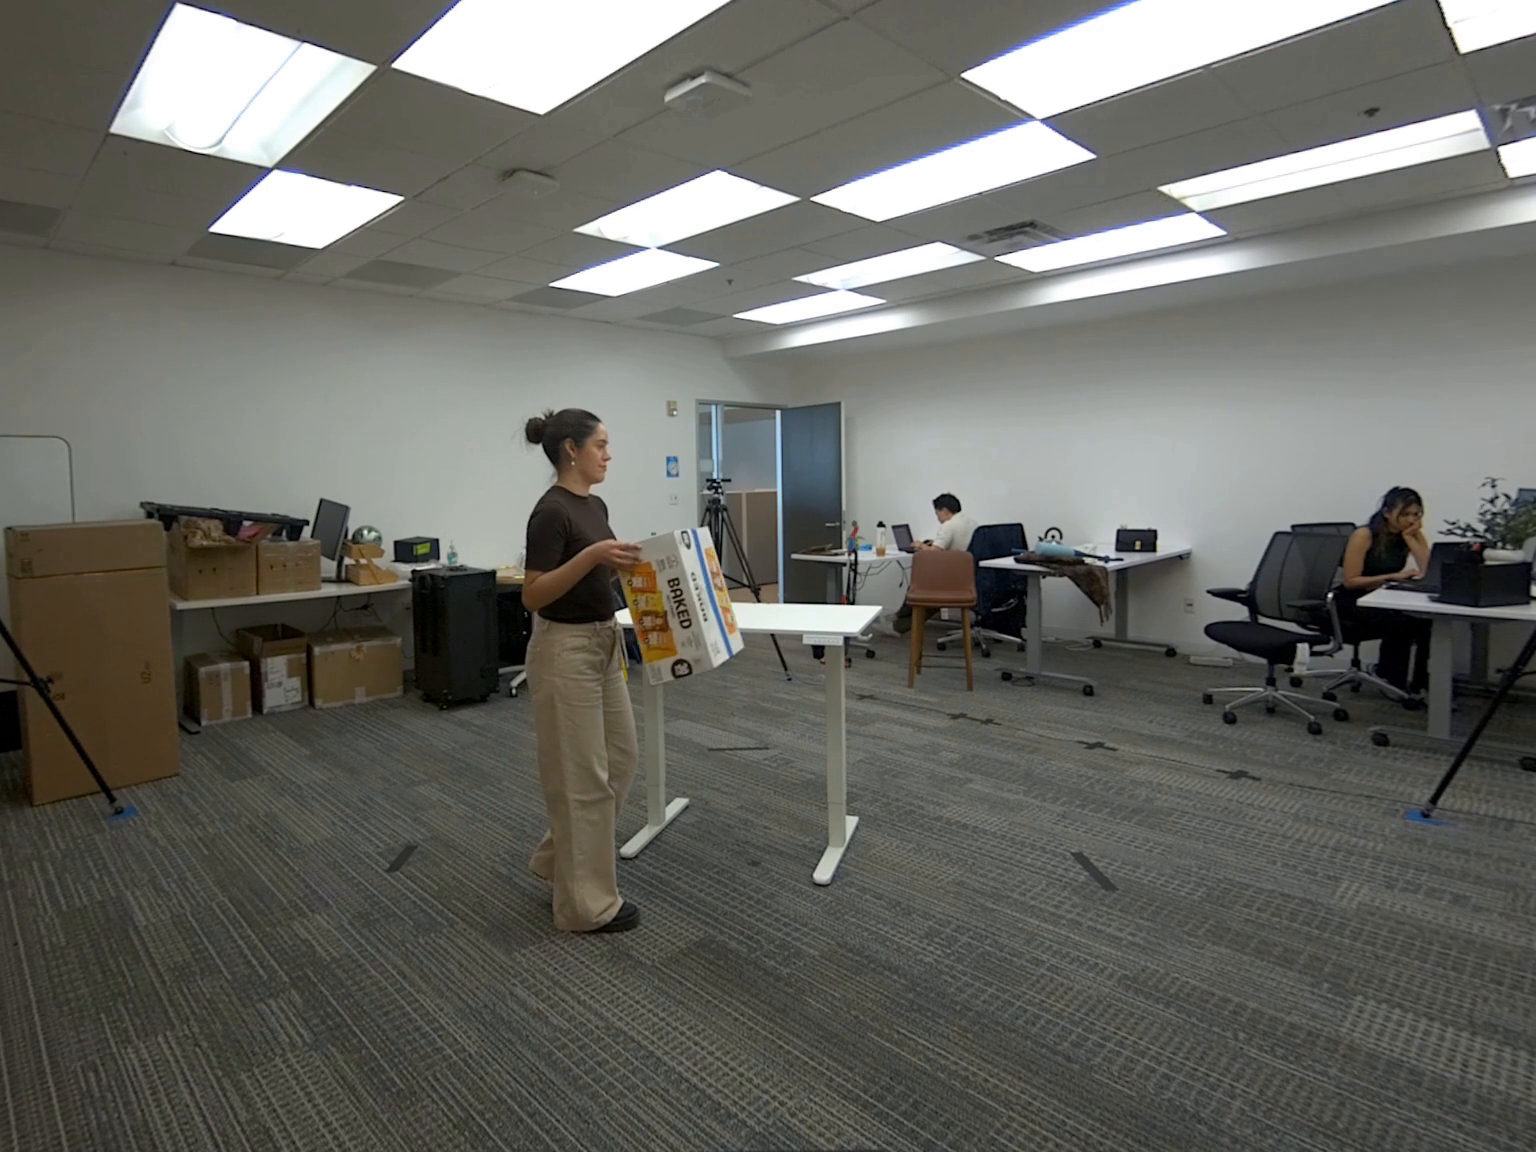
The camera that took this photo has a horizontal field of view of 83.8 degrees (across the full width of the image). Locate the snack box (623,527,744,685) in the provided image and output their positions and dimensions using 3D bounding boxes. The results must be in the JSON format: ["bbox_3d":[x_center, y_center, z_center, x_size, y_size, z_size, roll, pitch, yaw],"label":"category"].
[{"bbox_3d":[-0.263,0.075,2.575,0.208,0.406,0.336,-17,-1,14],"label":"snack box"}]
